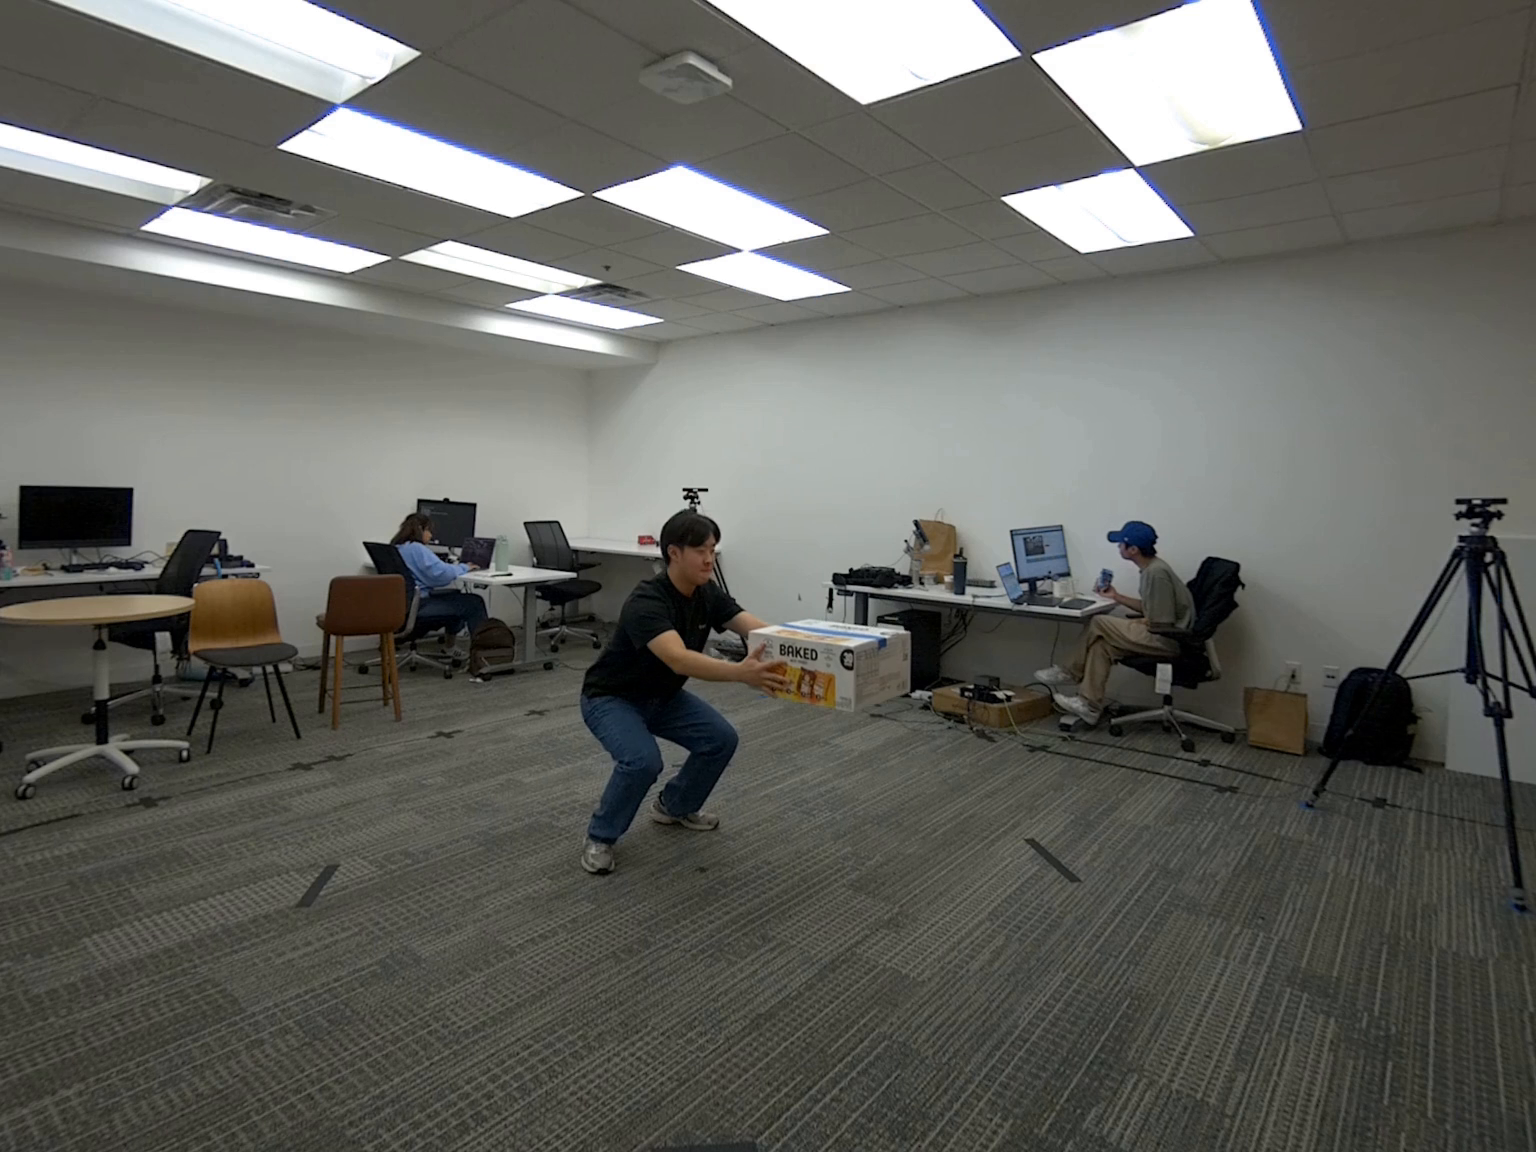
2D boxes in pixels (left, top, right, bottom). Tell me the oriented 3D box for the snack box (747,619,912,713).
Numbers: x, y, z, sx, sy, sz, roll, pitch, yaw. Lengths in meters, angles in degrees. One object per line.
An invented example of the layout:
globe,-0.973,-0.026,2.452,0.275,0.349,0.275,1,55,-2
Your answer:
snack box,0.189,0.274,2.775,0.419,0.205,0.331,5,7,39
